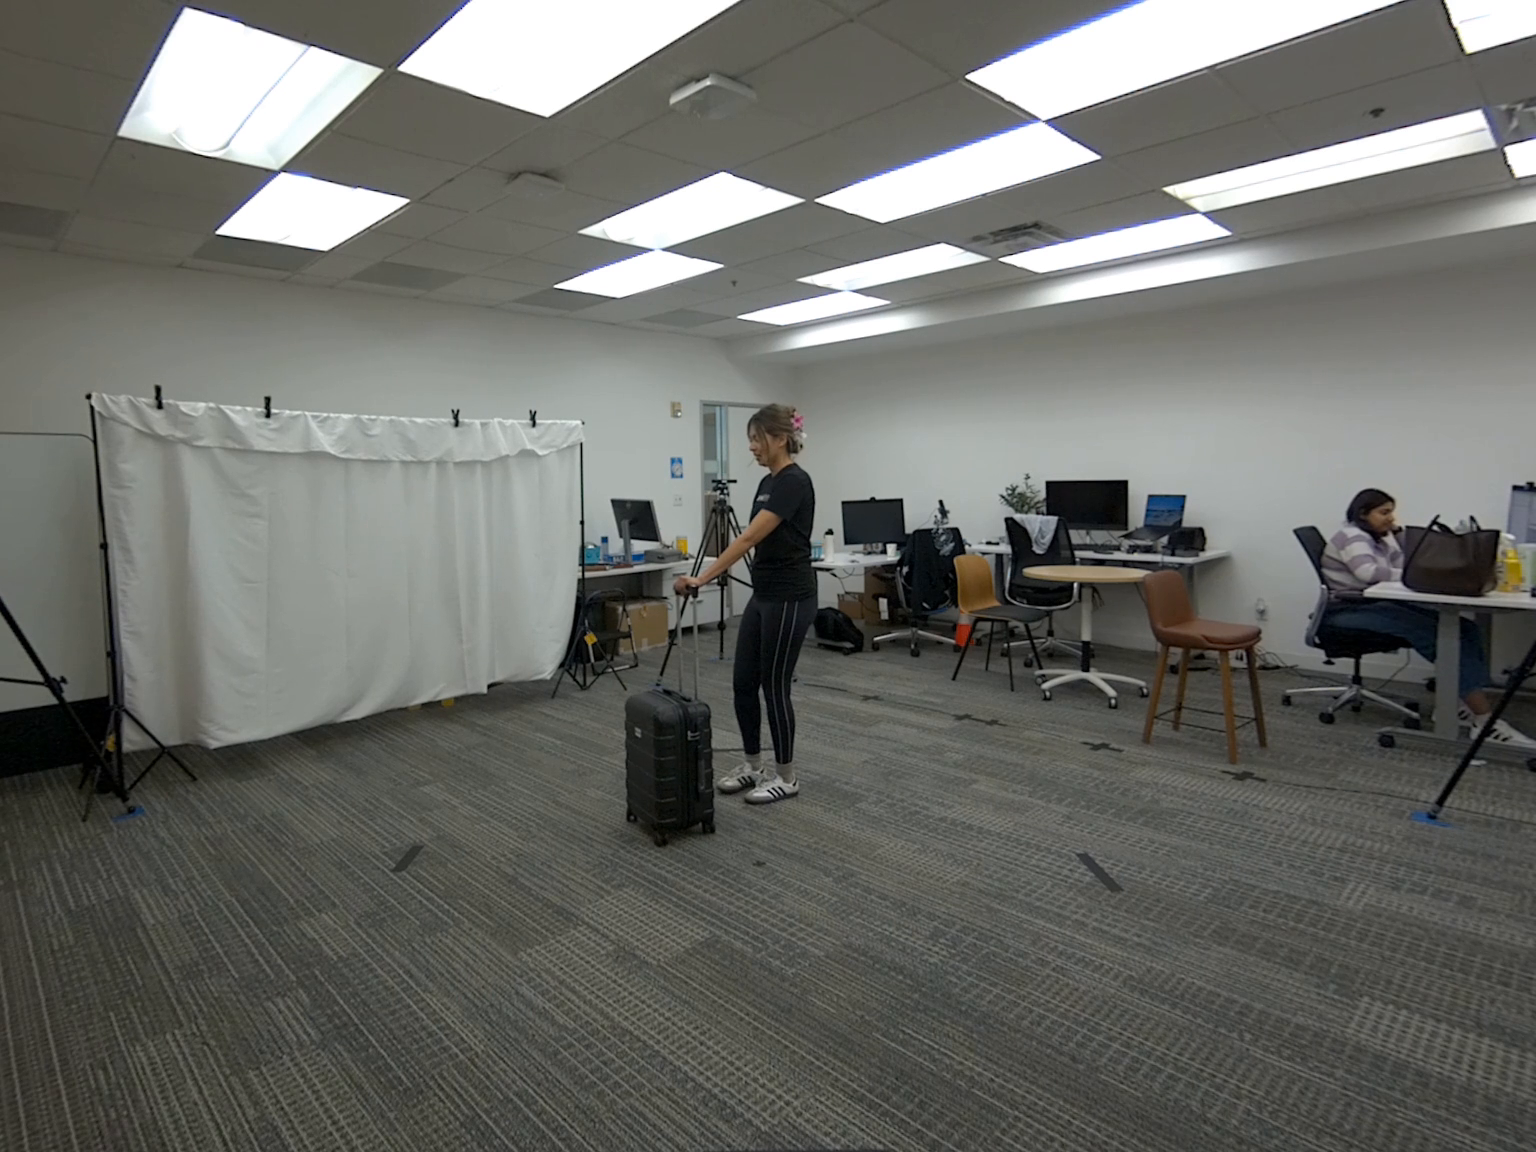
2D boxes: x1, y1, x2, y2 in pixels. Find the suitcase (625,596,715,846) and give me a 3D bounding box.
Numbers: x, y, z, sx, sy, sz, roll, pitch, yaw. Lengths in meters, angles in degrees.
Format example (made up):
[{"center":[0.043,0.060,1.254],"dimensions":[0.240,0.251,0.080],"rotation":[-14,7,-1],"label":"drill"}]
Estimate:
[{"center":[-0.409,0.542,3.413],"dimensions":[0.251,0.975,0.394],"rotation":[-4,5,-29],"label":"suitcase"}]
